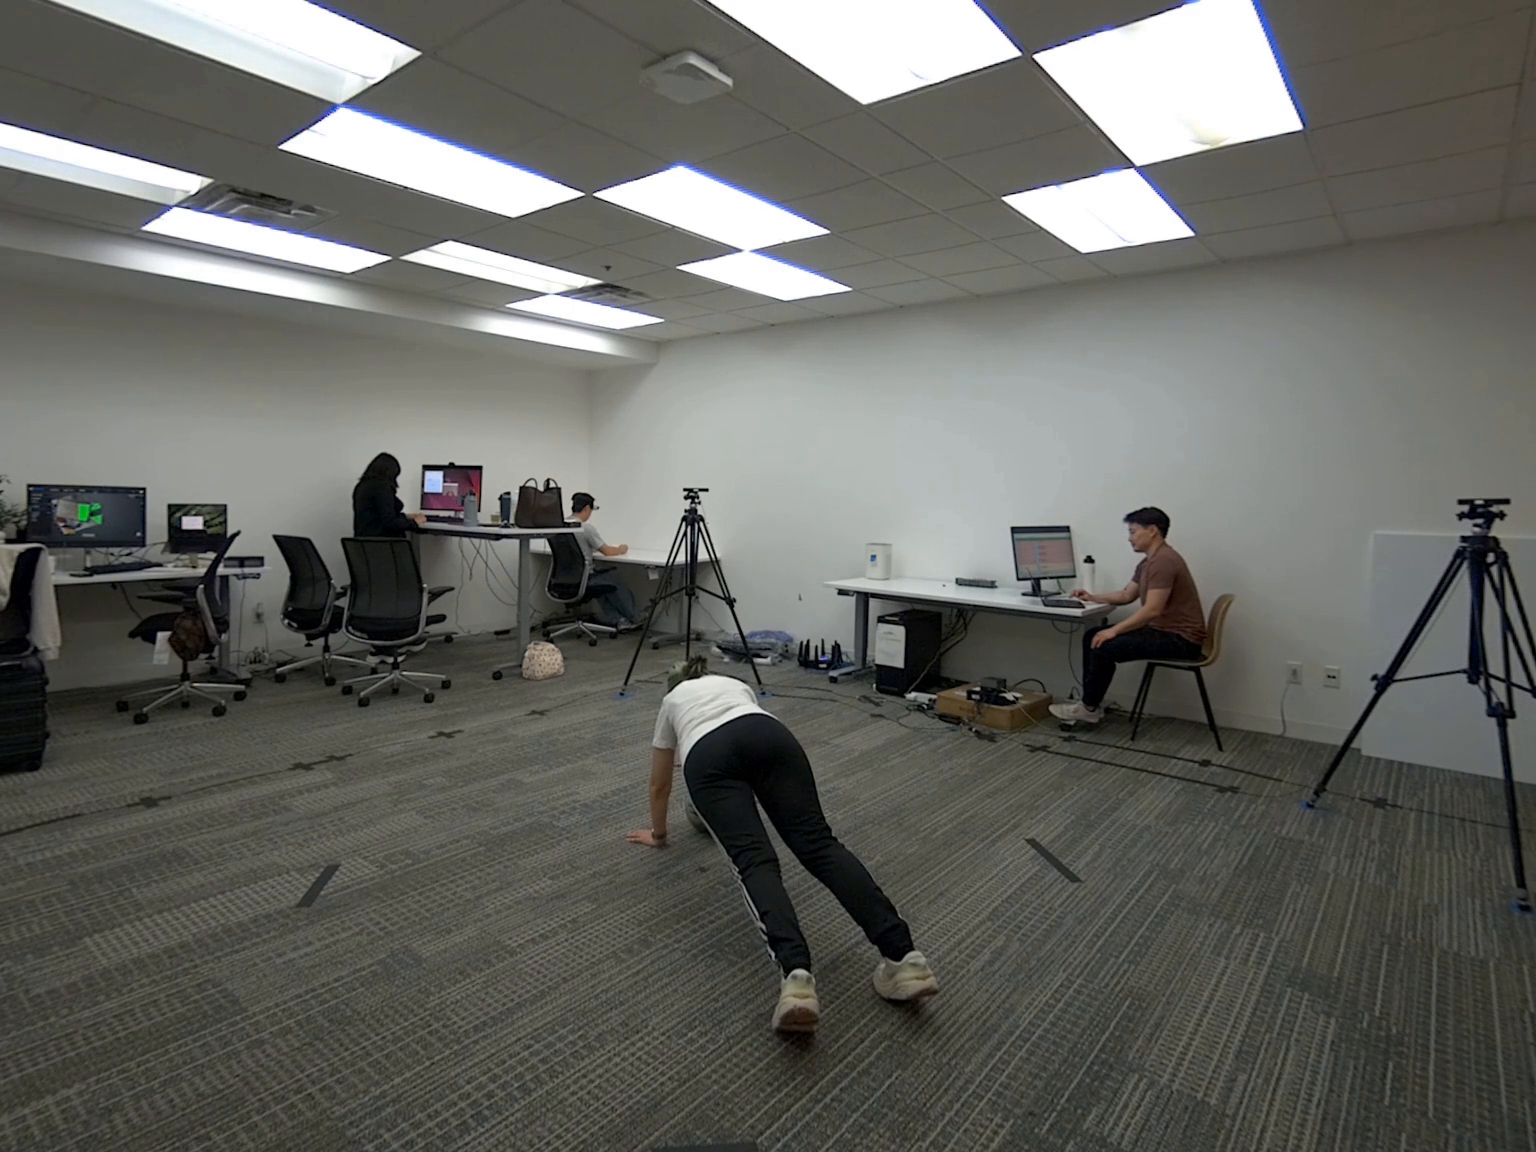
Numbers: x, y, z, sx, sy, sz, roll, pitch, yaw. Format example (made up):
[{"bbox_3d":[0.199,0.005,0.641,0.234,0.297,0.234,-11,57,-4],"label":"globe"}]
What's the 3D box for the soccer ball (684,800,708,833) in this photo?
[{"bbox_3d":[-0.251,0.936,3.462,0.187,0.187,0.188,1,4,-2],"label":"soccer ball"}]
